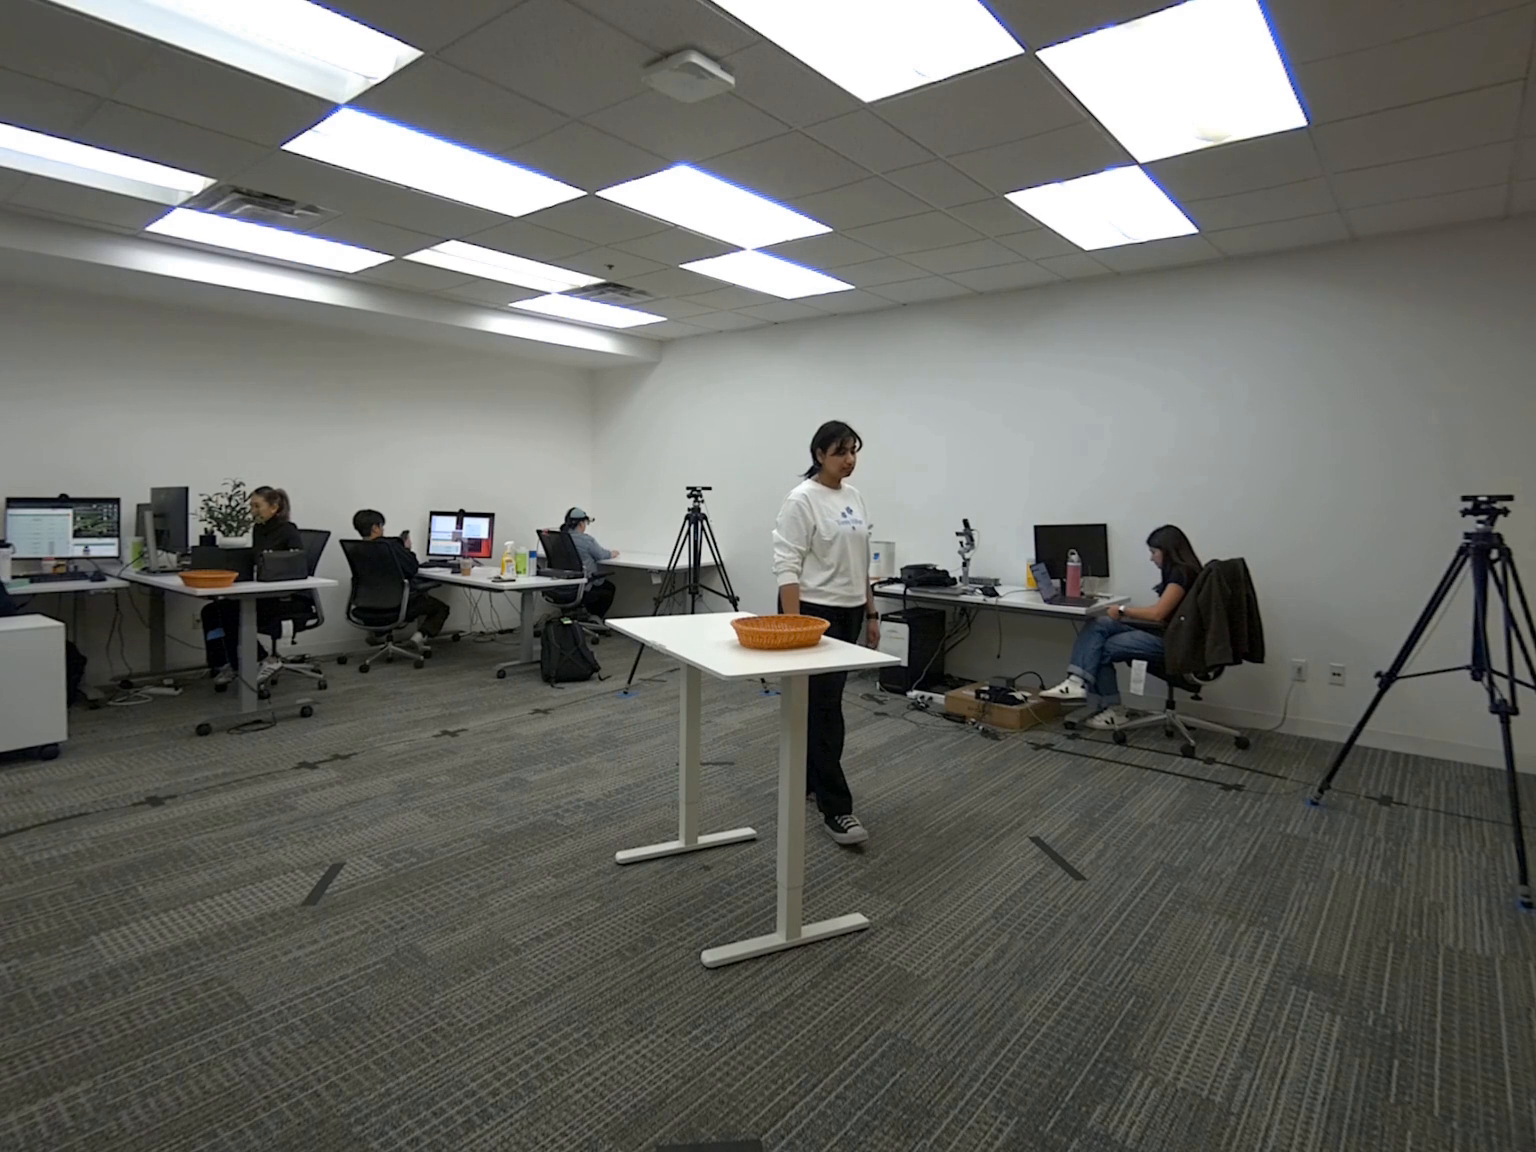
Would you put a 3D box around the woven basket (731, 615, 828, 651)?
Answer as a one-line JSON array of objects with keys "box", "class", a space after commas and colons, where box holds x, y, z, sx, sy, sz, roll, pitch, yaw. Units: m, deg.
[{"box": [0.046, 0.187, 2.786, 0.340, 0.073, 0.261, -4, 8, -36], "class": "woven basket"}]
